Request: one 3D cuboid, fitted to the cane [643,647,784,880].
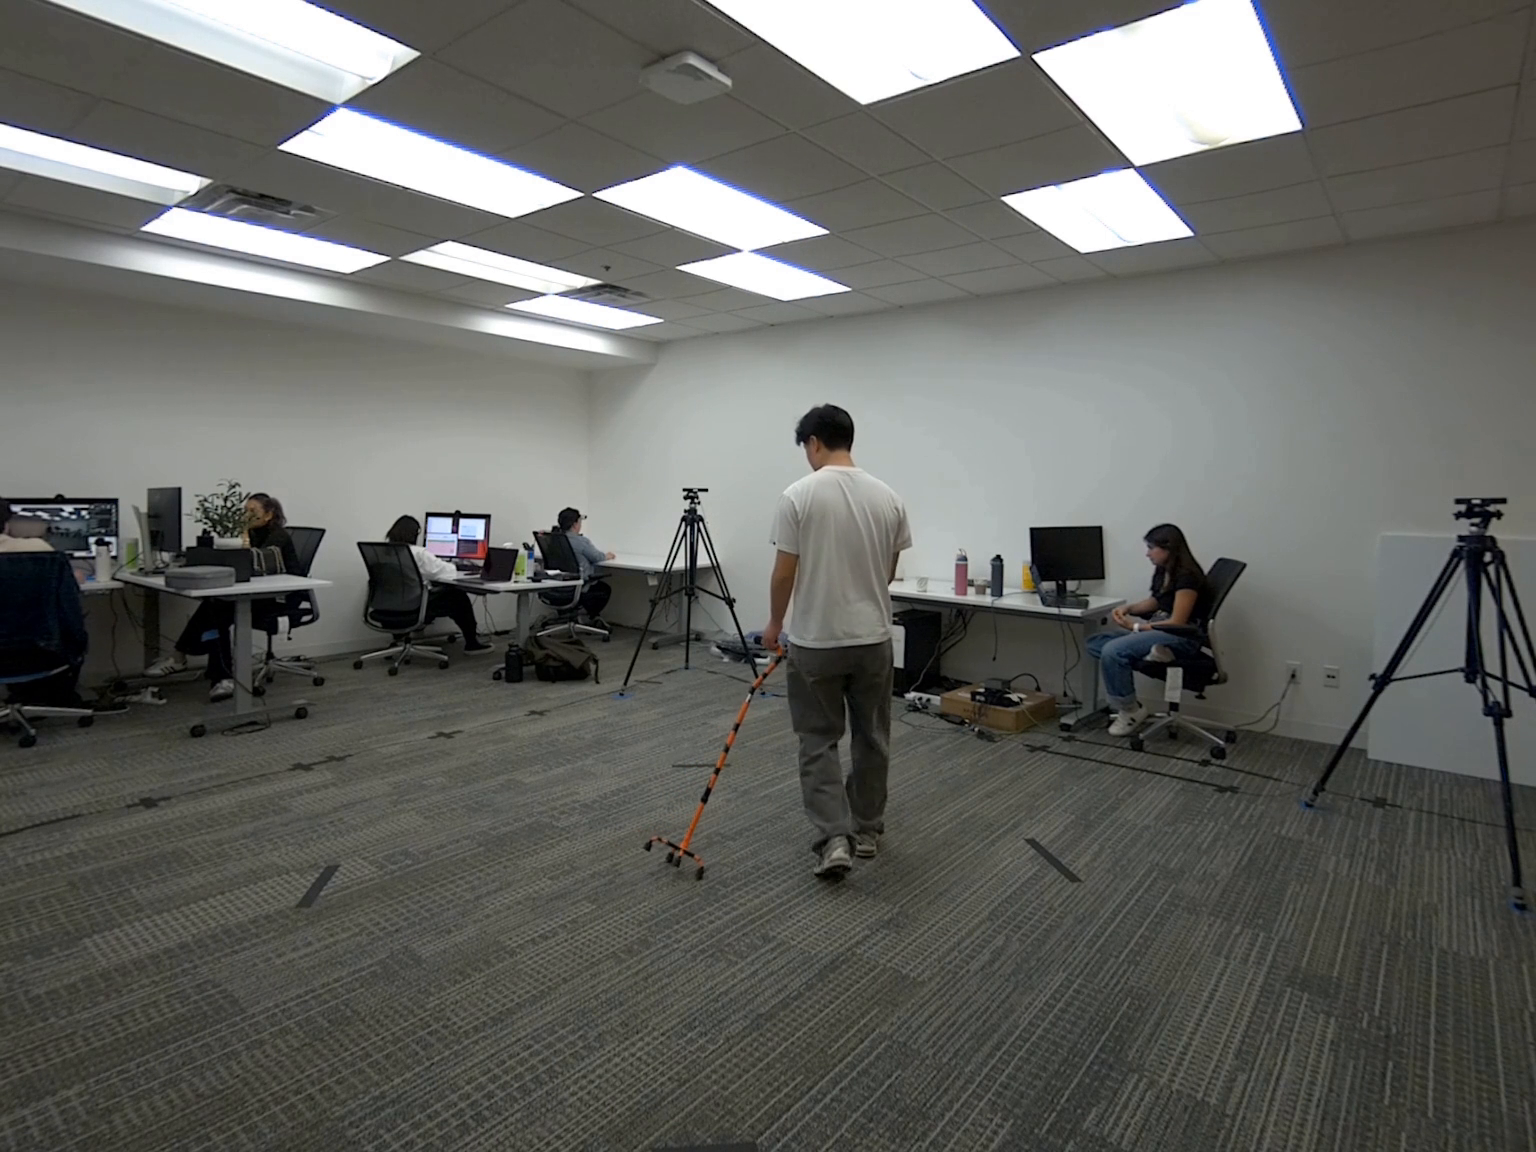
[{"bbox_3d":[-0.165,0.639,3.204,0.214,0.914,0.145,6,-25,45],"label":"cane"}]
